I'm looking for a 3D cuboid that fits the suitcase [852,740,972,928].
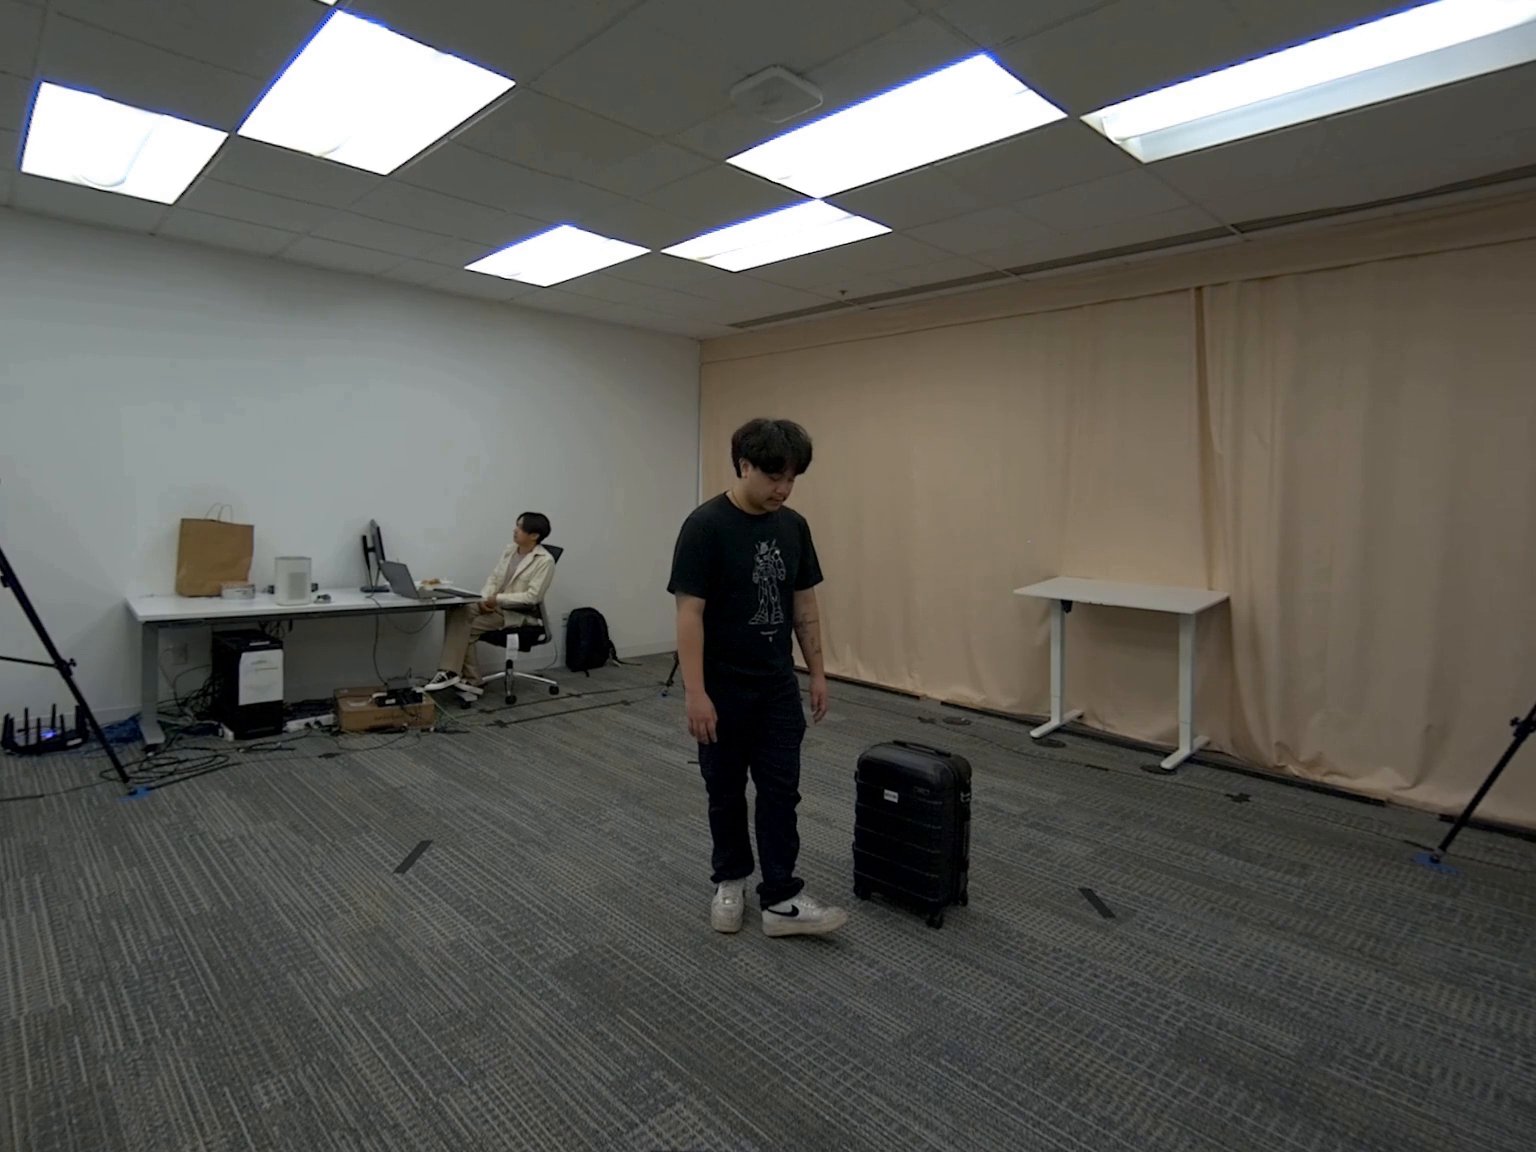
[{"bbox_3d":[0.497,0.865,2.915,0.385,0.547,0.243,6,7,39],"label":"suitcase"}]
